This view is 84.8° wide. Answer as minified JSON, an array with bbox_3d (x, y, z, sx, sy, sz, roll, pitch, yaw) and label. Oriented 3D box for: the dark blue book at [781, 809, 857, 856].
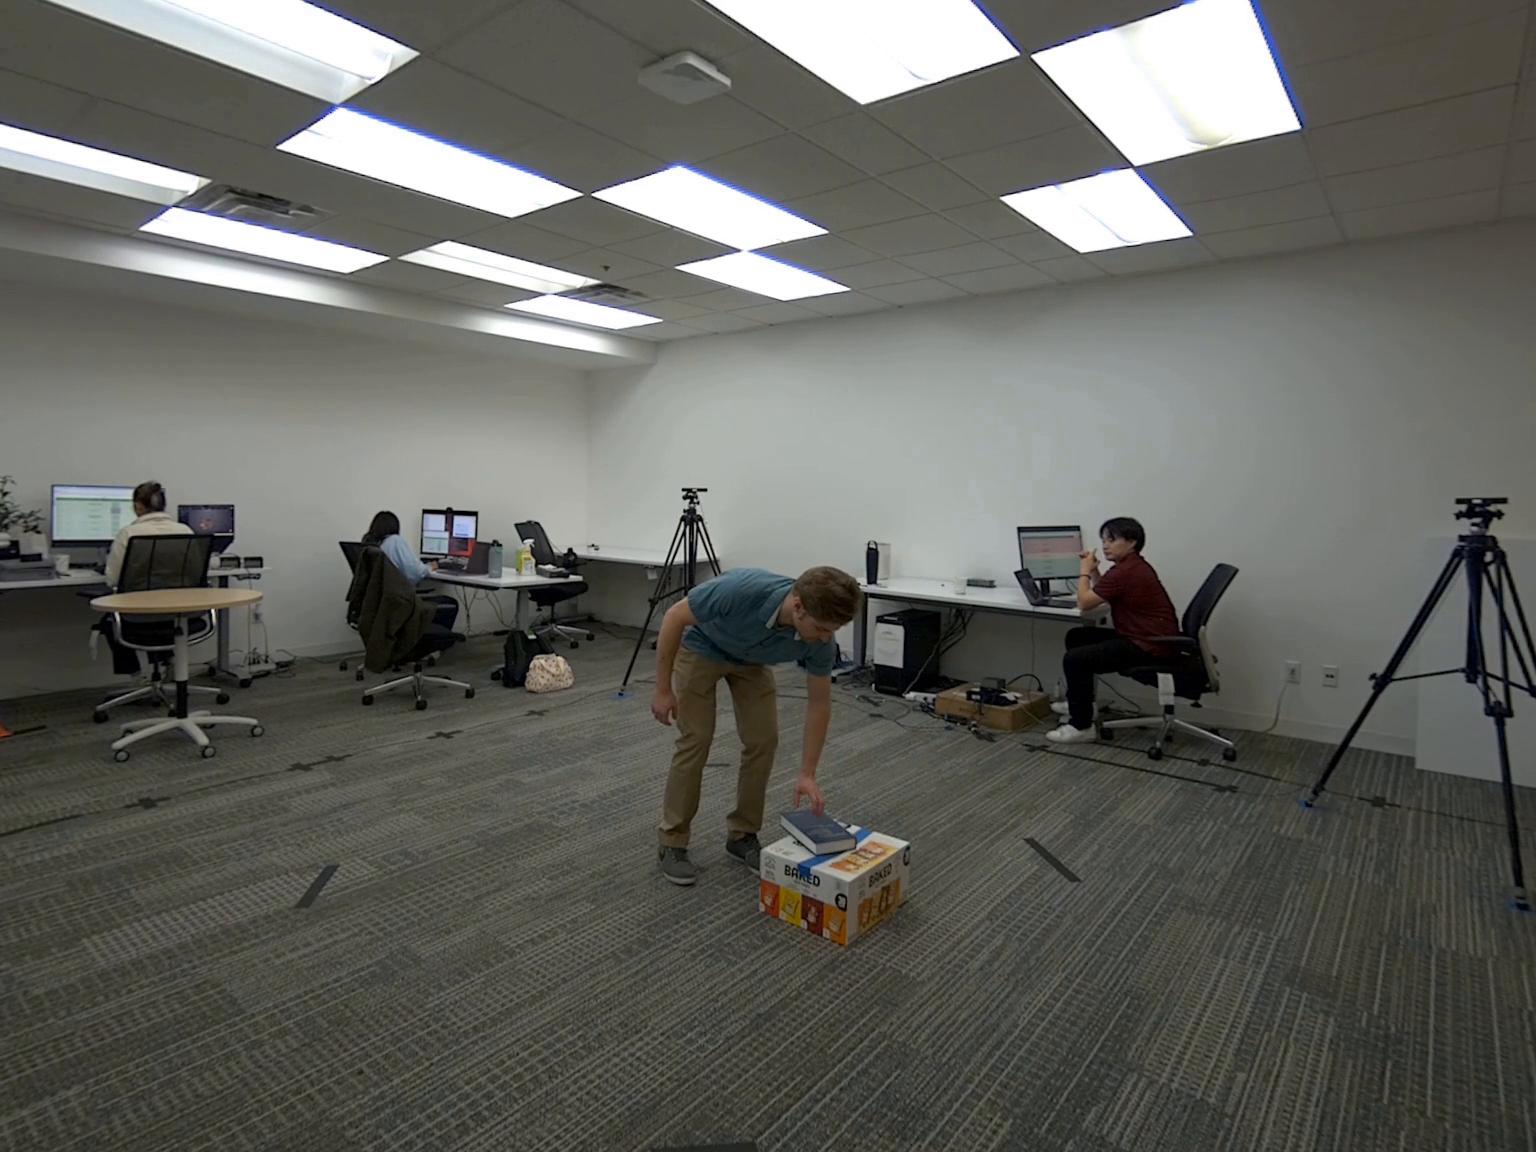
[{"bbox_3d":[0.170,0.878,2.931,0.159,0.045,0.253,0,9,-28],"label":"dark blue book"}]
